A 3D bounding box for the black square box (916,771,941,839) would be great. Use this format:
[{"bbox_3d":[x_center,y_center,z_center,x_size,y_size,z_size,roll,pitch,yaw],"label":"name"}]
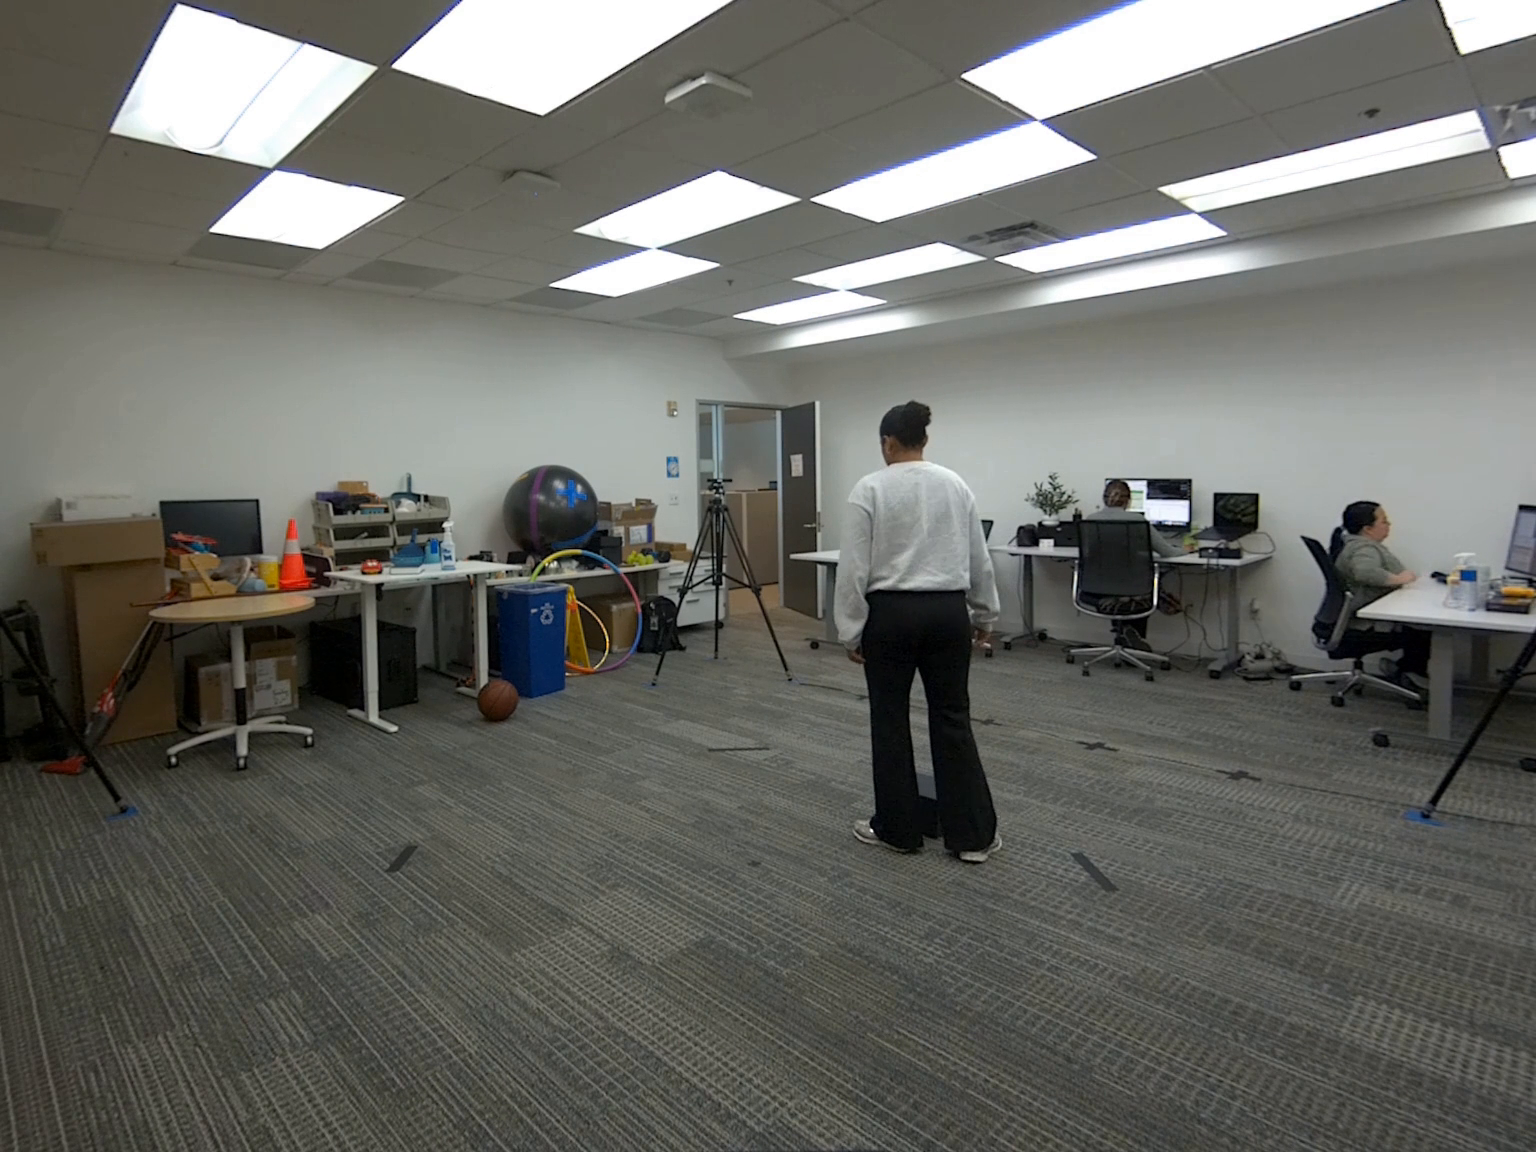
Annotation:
[{"bbox_3d":[0.642,0.915,3.435,0.235,0.155,0.211,4,7,44],"label":"black square box"}]
